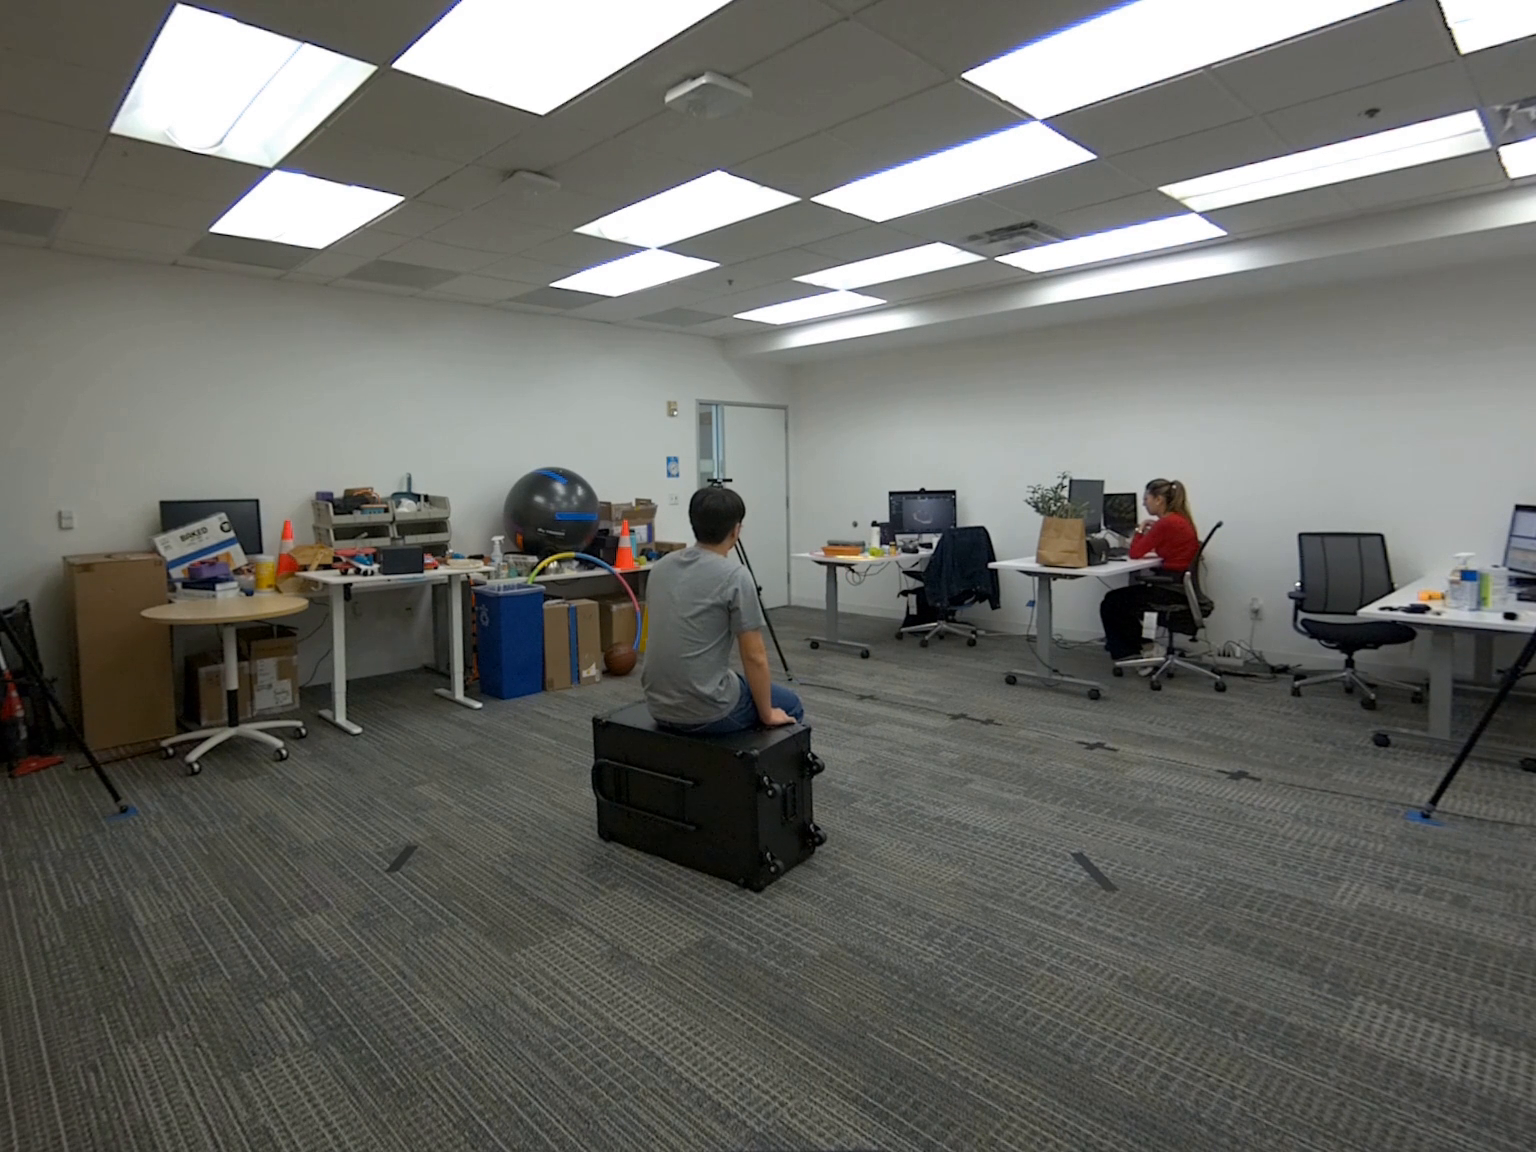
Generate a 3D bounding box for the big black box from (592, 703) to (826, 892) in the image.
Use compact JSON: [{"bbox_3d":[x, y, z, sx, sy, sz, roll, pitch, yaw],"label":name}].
[{"bbox_3d":[-0.234,0.783,3.208,0.886,0.518,0.387,3,8,36],"label":"big black box"}]
